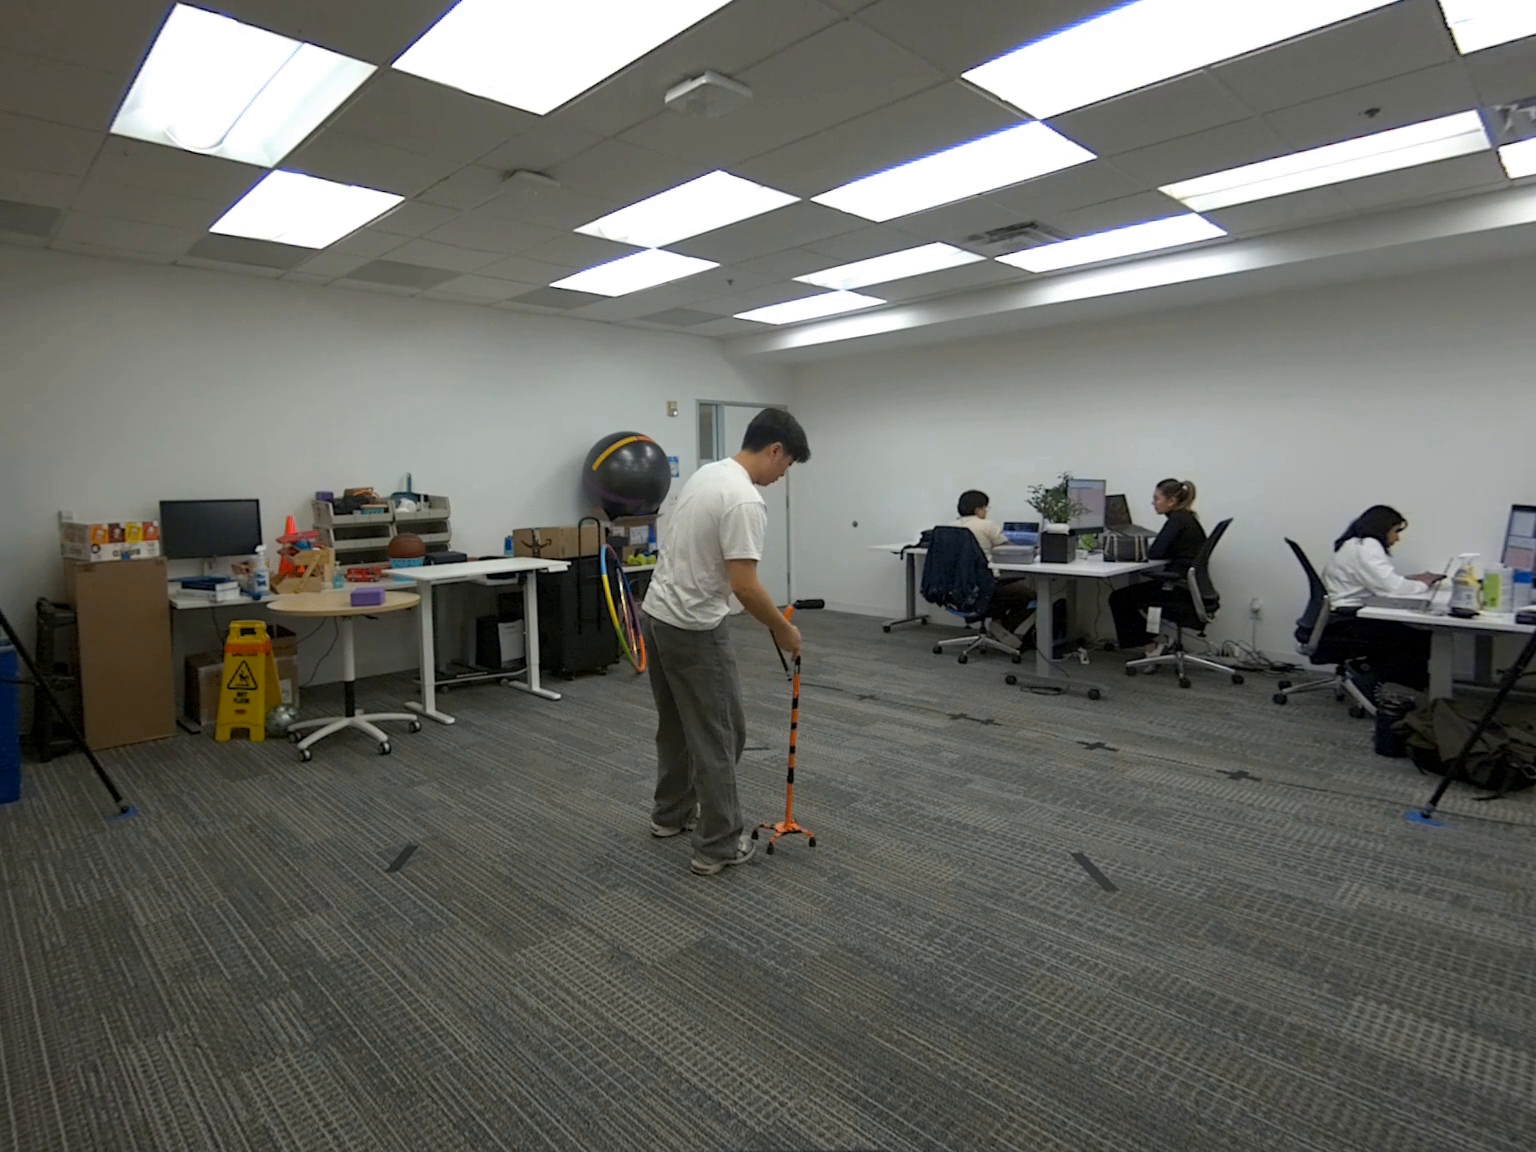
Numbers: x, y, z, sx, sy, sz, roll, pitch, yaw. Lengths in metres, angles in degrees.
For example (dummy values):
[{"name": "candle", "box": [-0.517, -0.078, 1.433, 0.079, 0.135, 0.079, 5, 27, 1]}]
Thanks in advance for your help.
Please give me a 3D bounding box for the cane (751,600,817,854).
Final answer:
[{"name": "cane", "box": [0.085, 0.542, 3.131, 0.201, 0.904, 0.156, 0, 5, -30]}]
